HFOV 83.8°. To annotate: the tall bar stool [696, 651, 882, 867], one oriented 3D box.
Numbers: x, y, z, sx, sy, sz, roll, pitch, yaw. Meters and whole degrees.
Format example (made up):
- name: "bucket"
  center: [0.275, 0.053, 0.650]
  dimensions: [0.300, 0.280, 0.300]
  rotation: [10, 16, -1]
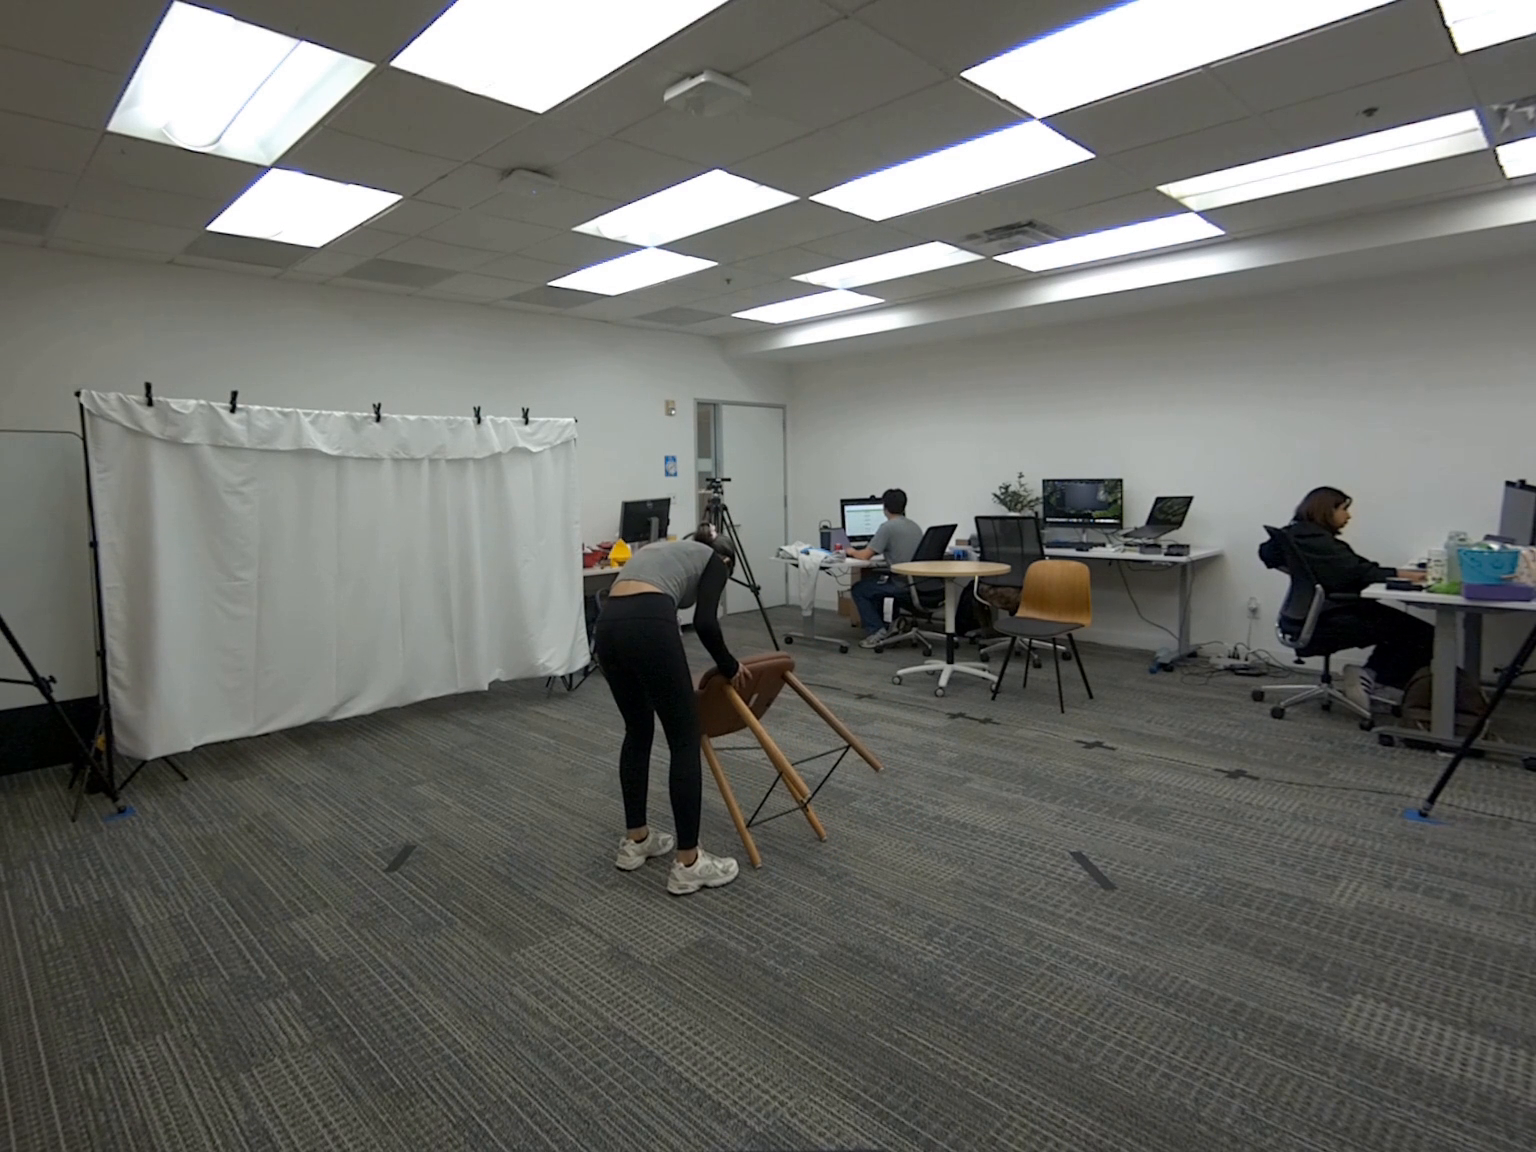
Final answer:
- name: "tall bar stool"
  center: [-0.052, 0.583, 3.309]
  dimensions: [0.444, 0.463, 0.923]
  rotation: [-5, 43, -41]
